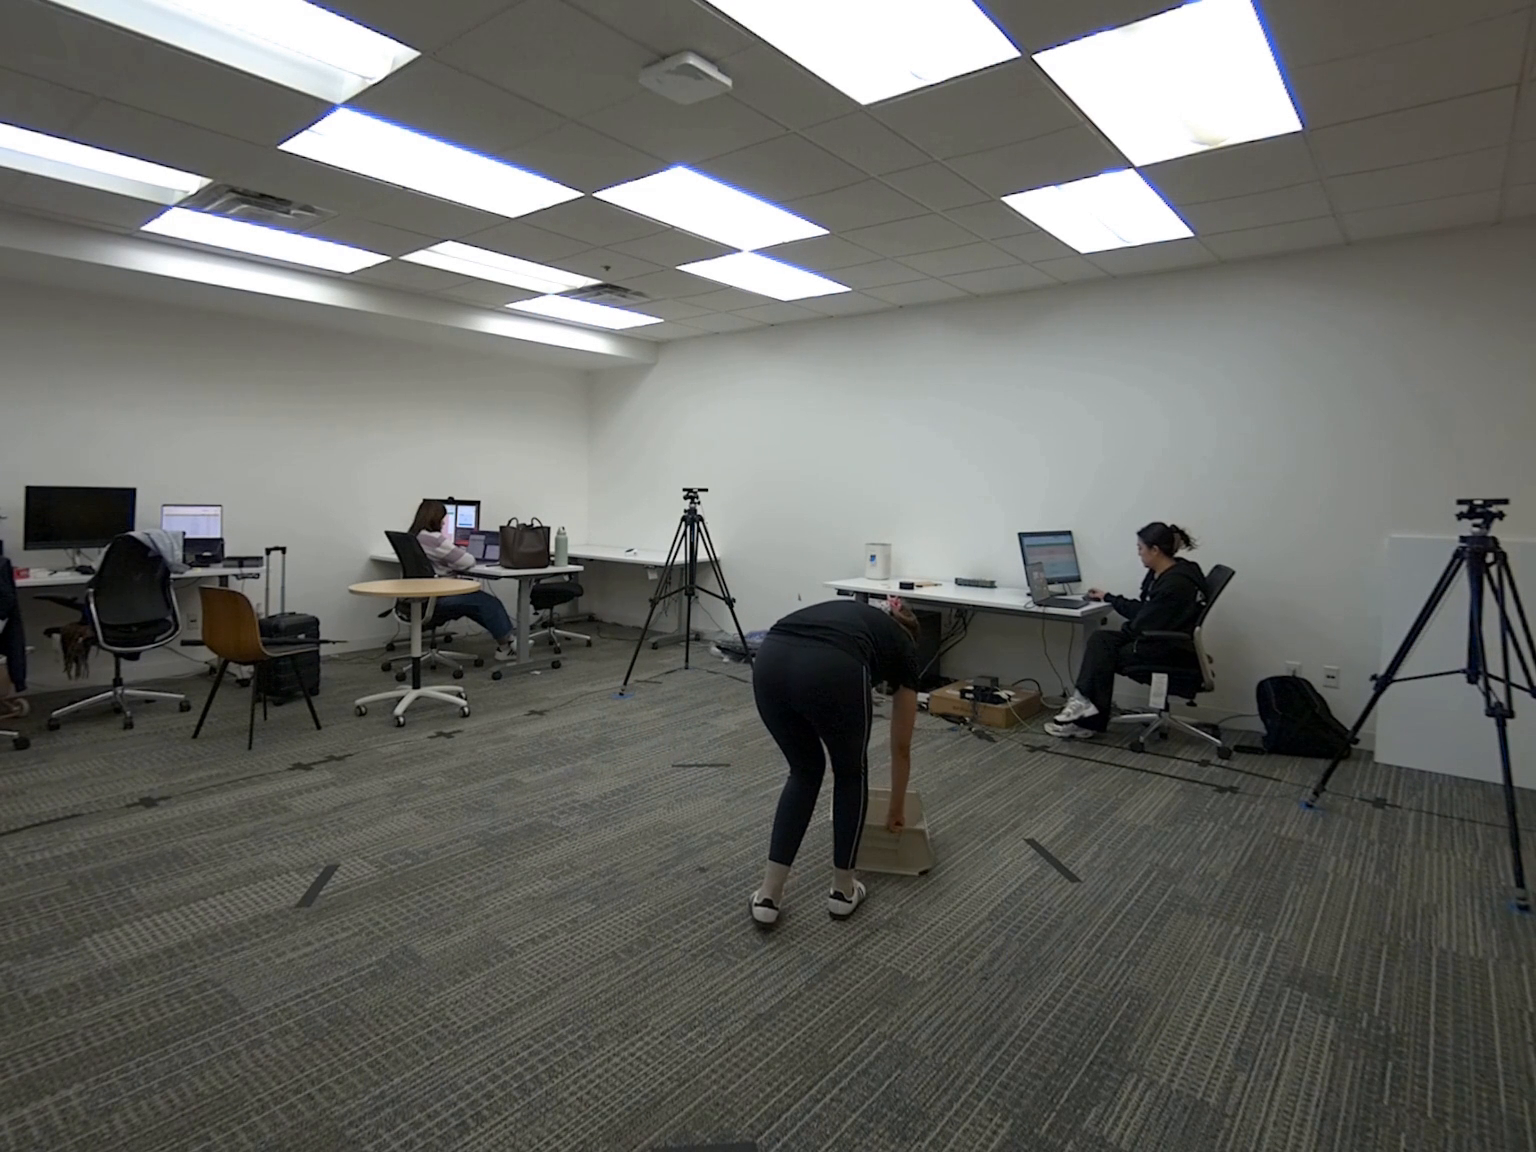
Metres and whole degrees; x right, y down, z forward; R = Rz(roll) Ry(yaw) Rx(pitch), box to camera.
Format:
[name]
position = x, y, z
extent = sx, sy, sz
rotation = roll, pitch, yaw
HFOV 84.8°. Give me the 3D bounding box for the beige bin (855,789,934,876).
[beige bin]
position = 0.429, 0.972, 3.313
extent = 0.381, 0.188, 0.420
rotation = 1, 5, 8
